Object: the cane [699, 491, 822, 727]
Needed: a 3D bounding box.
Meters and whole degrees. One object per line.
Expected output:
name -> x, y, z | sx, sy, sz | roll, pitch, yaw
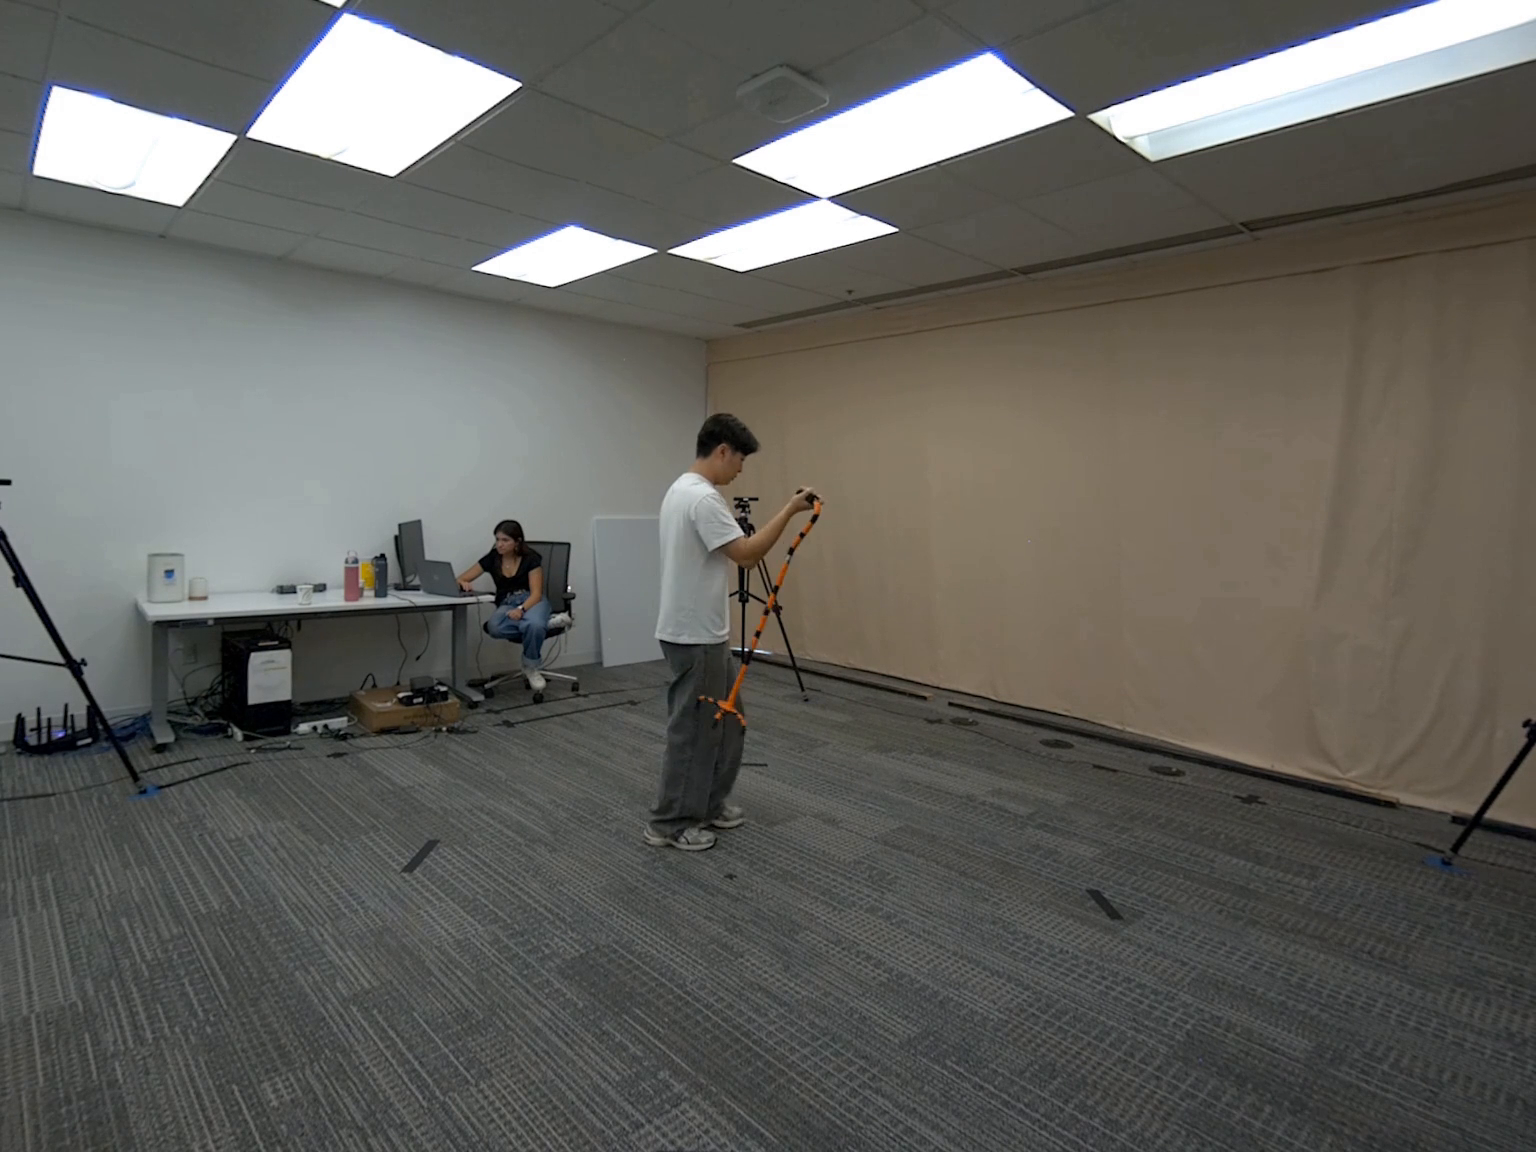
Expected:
cane -> -0.013, 0.130, 3.078 | 0.148, 0.906, 0.211 | 17, 6, -25
